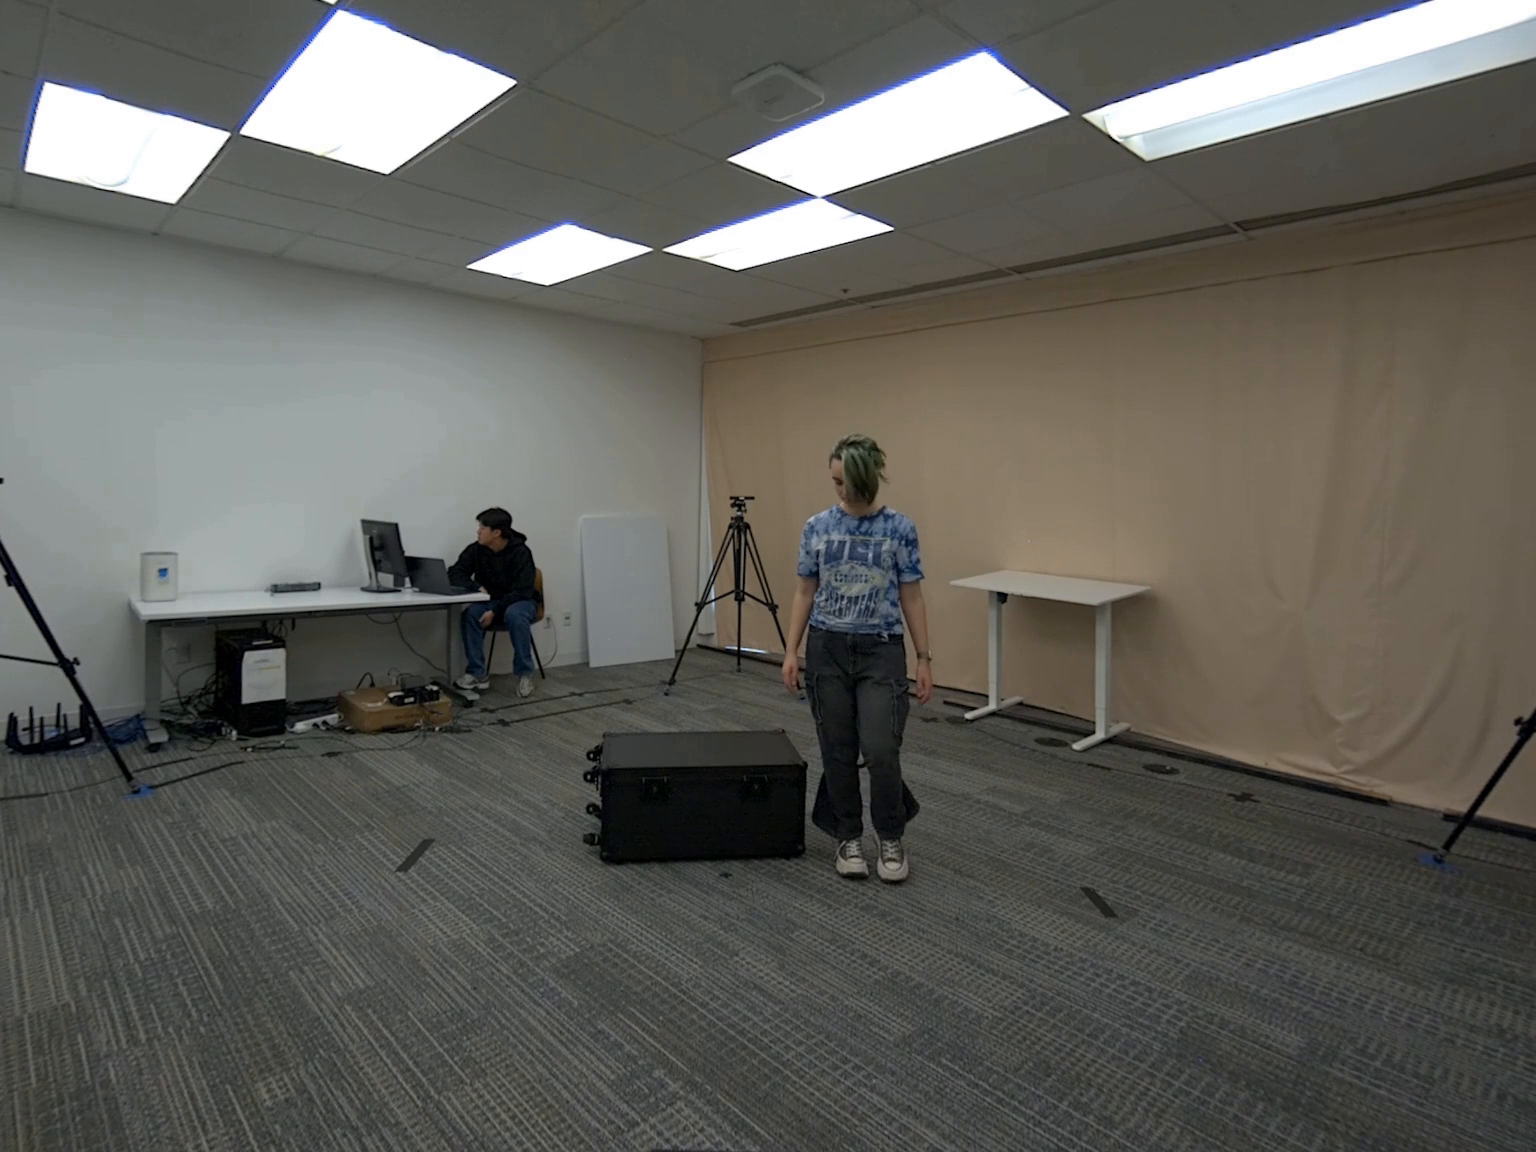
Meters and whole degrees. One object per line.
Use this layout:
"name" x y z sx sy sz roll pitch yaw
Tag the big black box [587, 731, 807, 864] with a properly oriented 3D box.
"big black box" -0.256 0.875 3.428 0.855 0.395 0.526 1 5 -9
